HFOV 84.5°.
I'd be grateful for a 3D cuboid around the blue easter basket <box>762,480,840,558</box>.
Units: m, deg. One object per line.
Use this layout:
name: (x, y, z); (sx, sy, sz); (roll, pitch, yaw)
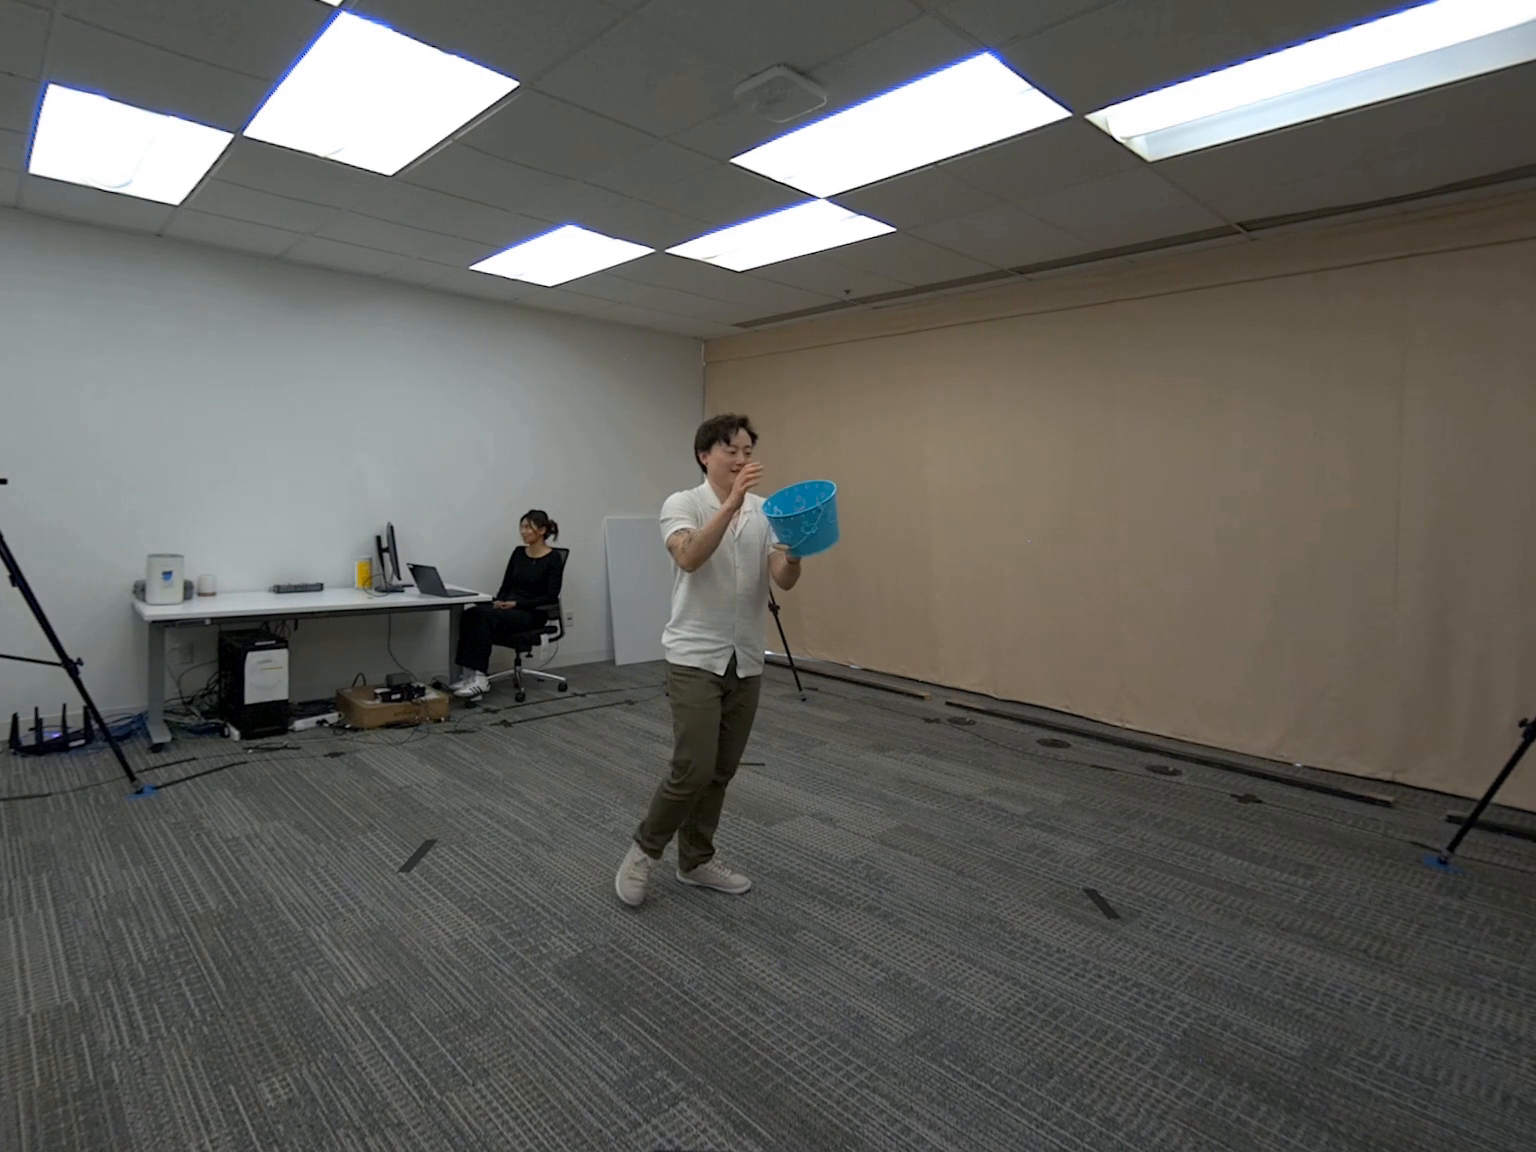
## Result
blue easter basket: (0.100, -0.169, 2.524); (0.244, 0.153, 0.248); (-16, 24, 6)
